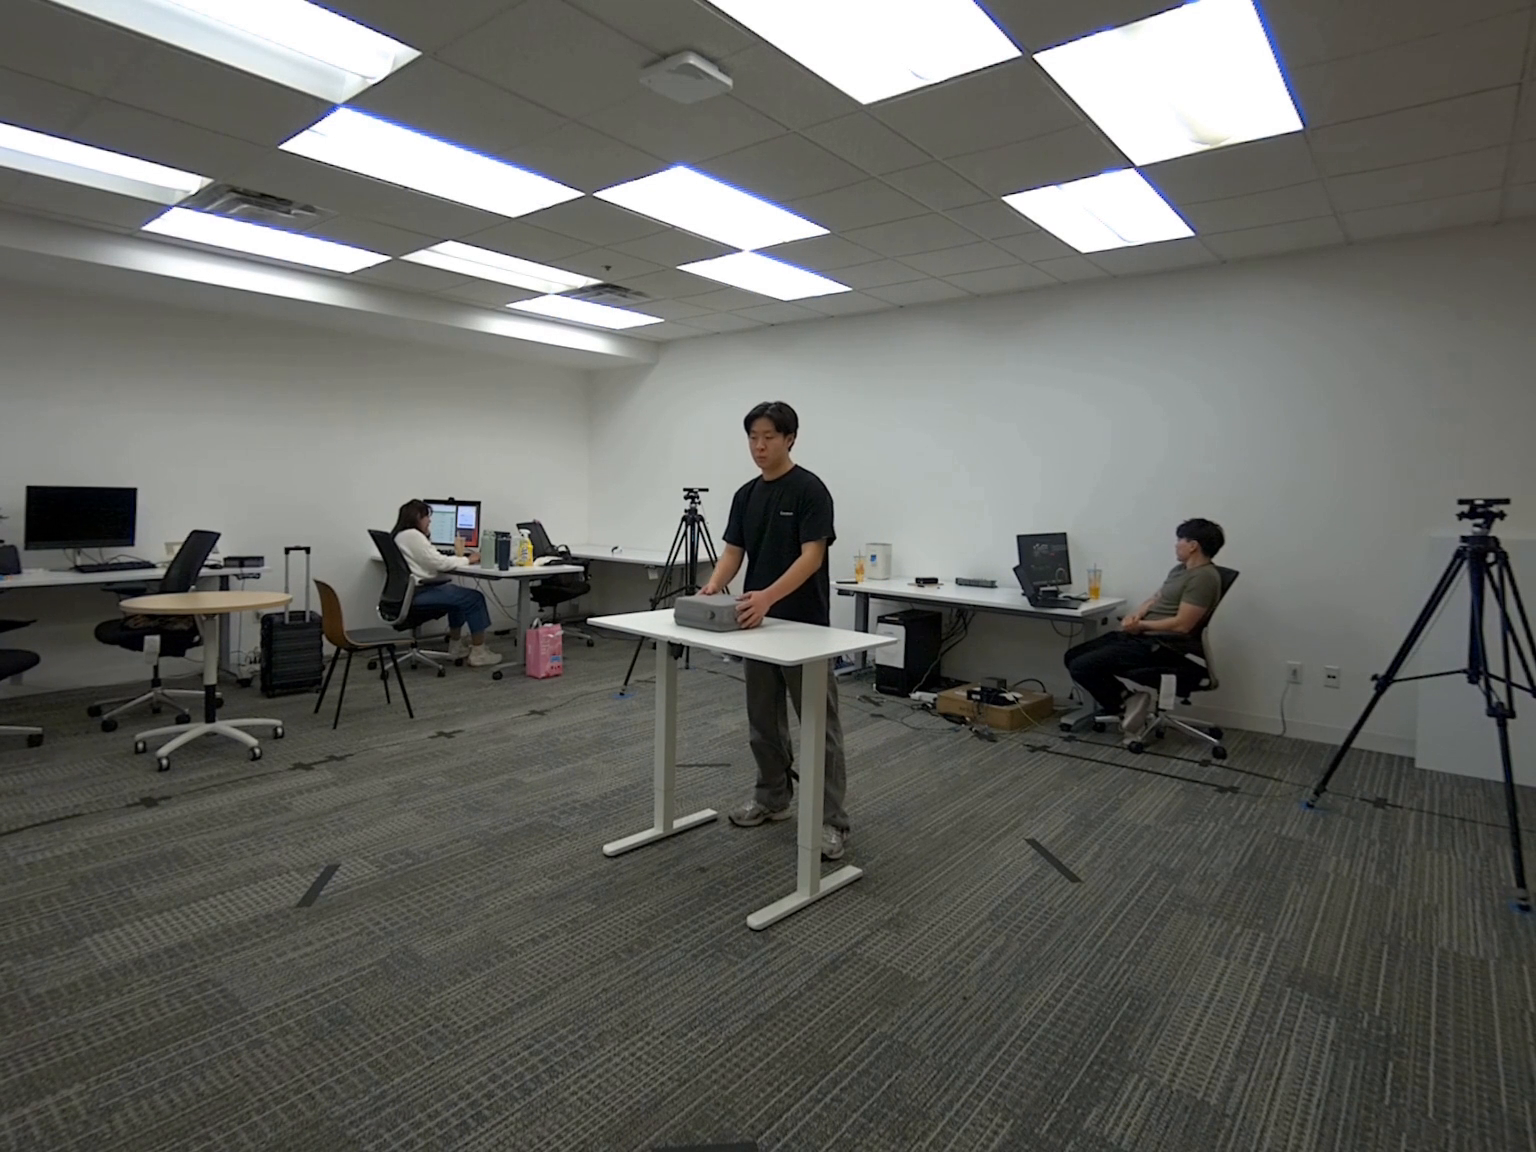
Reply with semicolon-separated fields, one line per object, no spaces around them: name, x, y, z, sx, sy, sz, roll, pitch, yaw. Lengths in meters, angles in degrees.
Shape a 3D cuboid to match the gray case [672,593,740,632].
gray case;-0.187;0.133;3.145;0.297;0.102;0.255;6;8;44
